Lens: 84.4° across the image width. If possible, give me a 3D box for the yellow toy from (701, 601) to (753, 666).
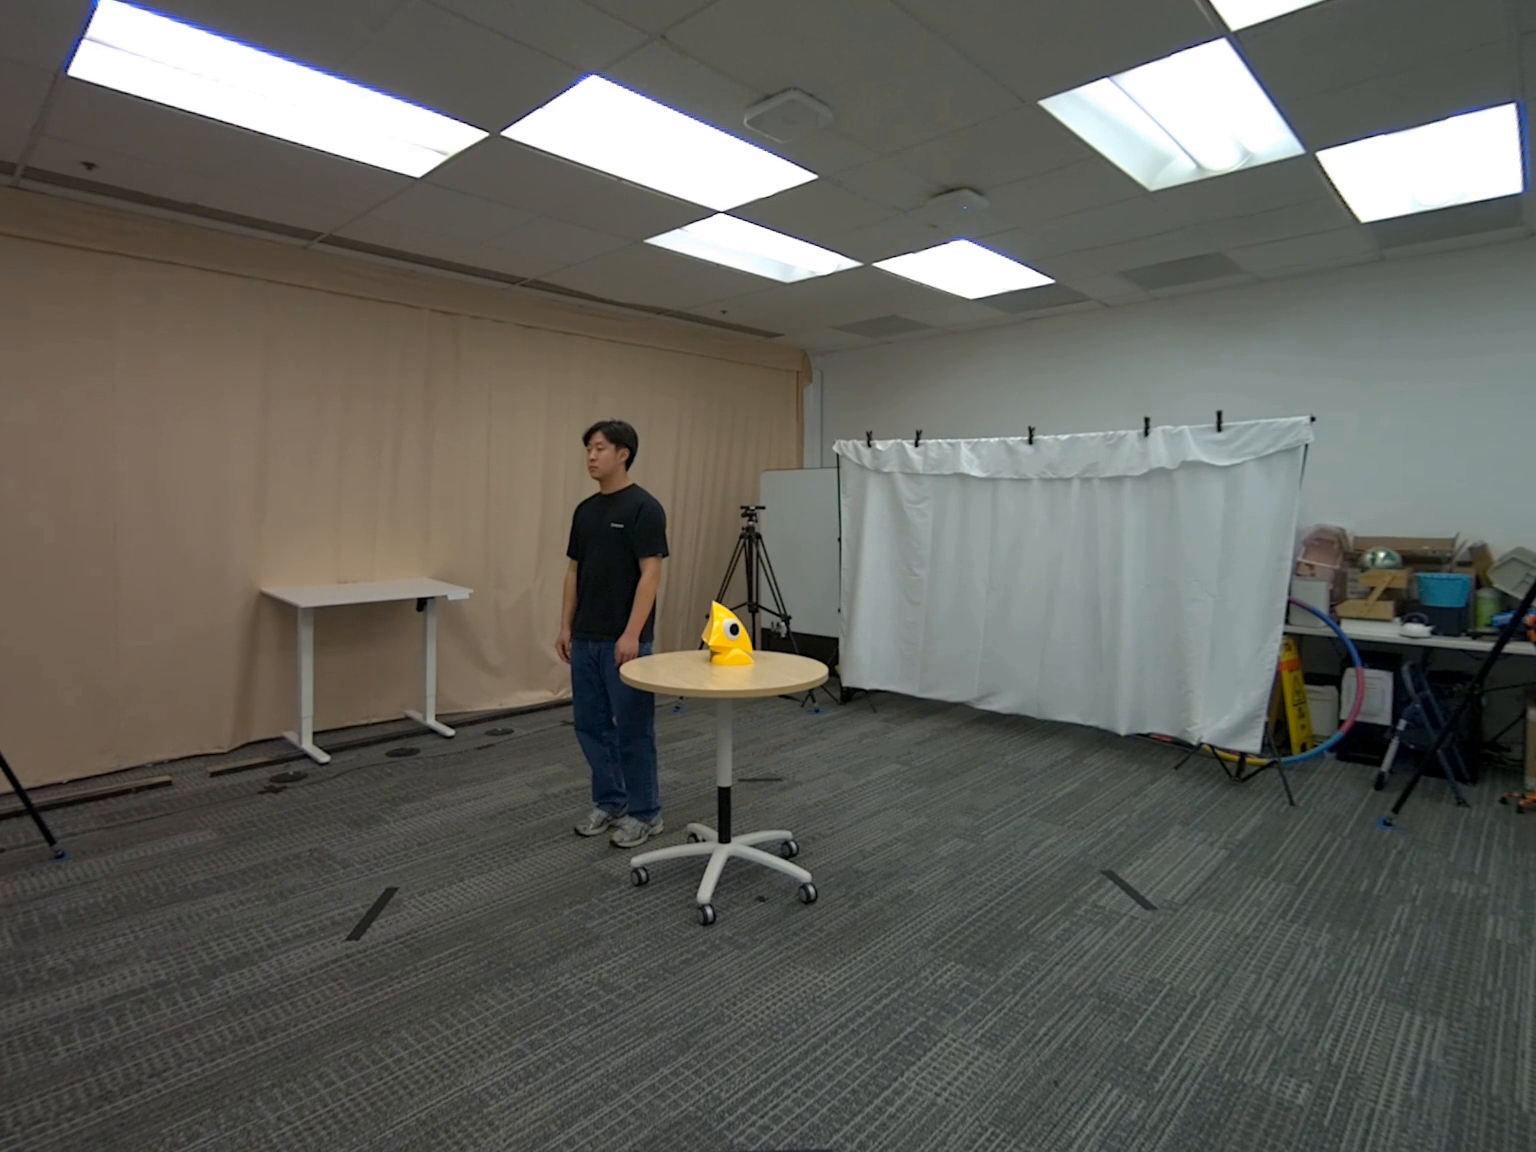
[{"bbox_3d":[-0.152,0.211,3.245,0.191,0.230,0.207,-2,4,-10],"label":"yellow toy"}]
